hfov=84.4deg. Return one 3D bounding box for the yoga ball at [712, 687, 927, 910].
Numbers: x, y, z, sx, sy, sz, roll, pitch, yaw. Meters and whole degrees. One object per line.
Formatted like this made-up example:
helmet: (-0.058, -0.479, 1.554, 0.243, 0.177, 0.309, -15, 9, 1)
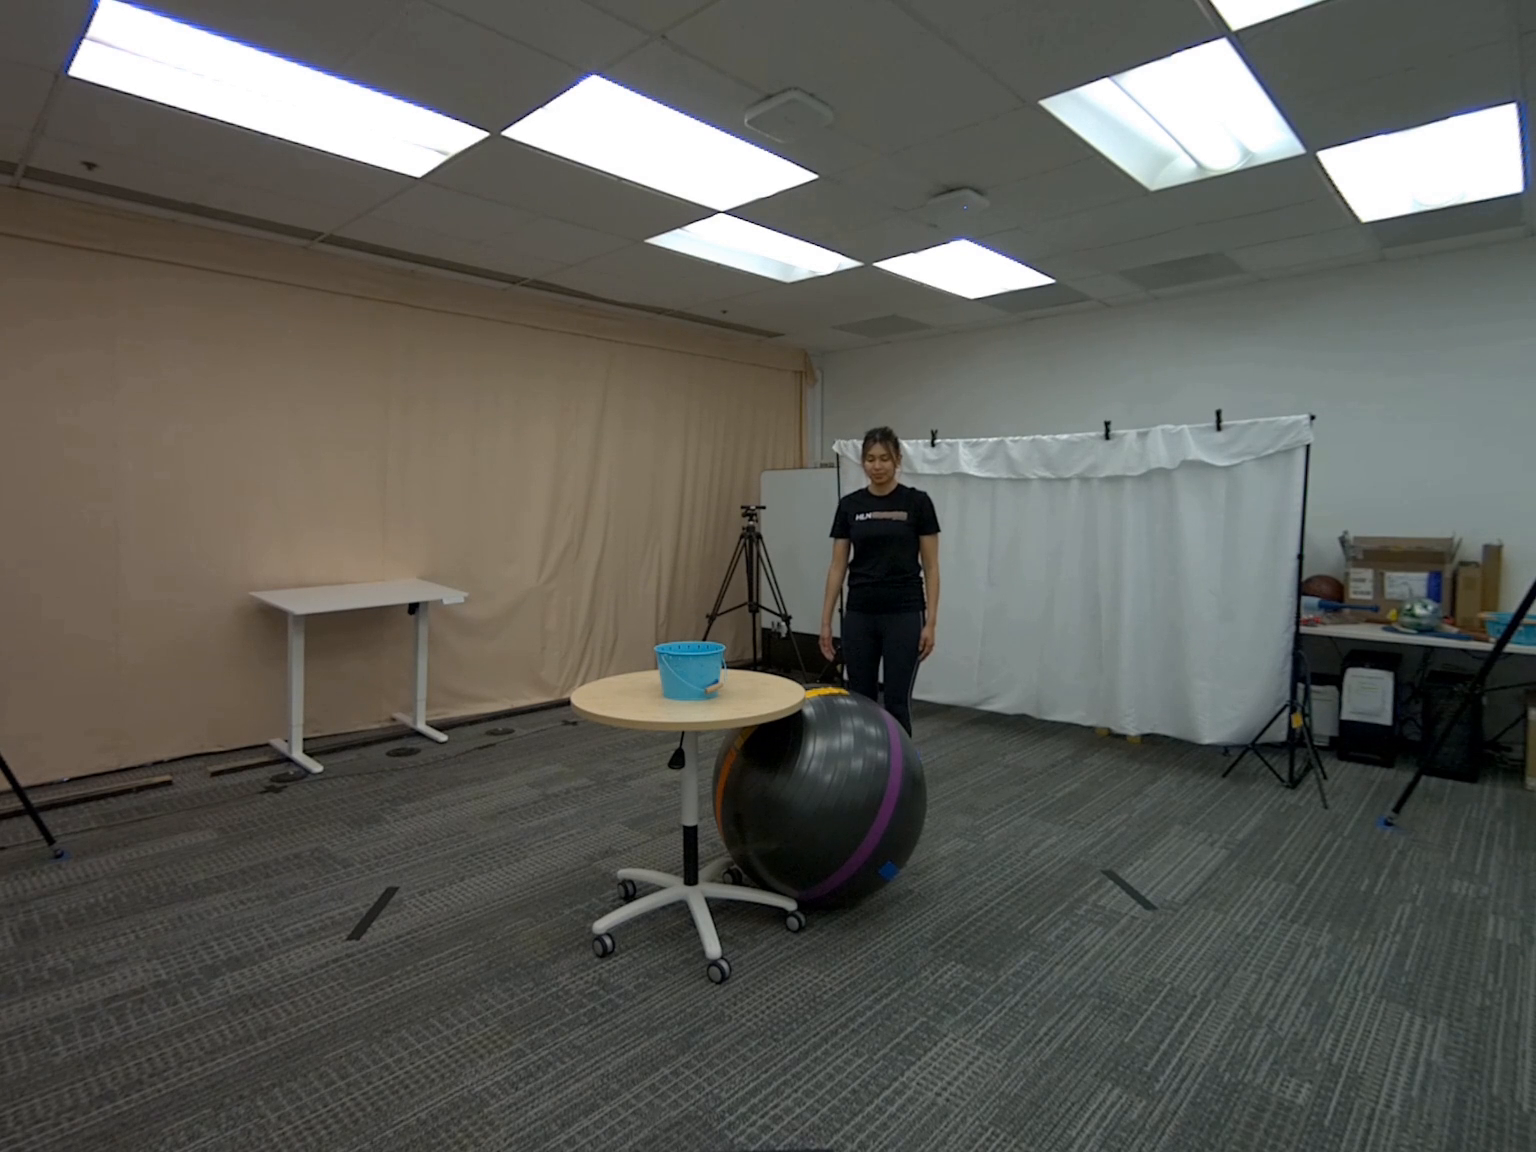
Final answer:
yoga ball: (0.178, 0.773, 2.999, 0.757, 0.756, 0.761, 0, 4, -2)
